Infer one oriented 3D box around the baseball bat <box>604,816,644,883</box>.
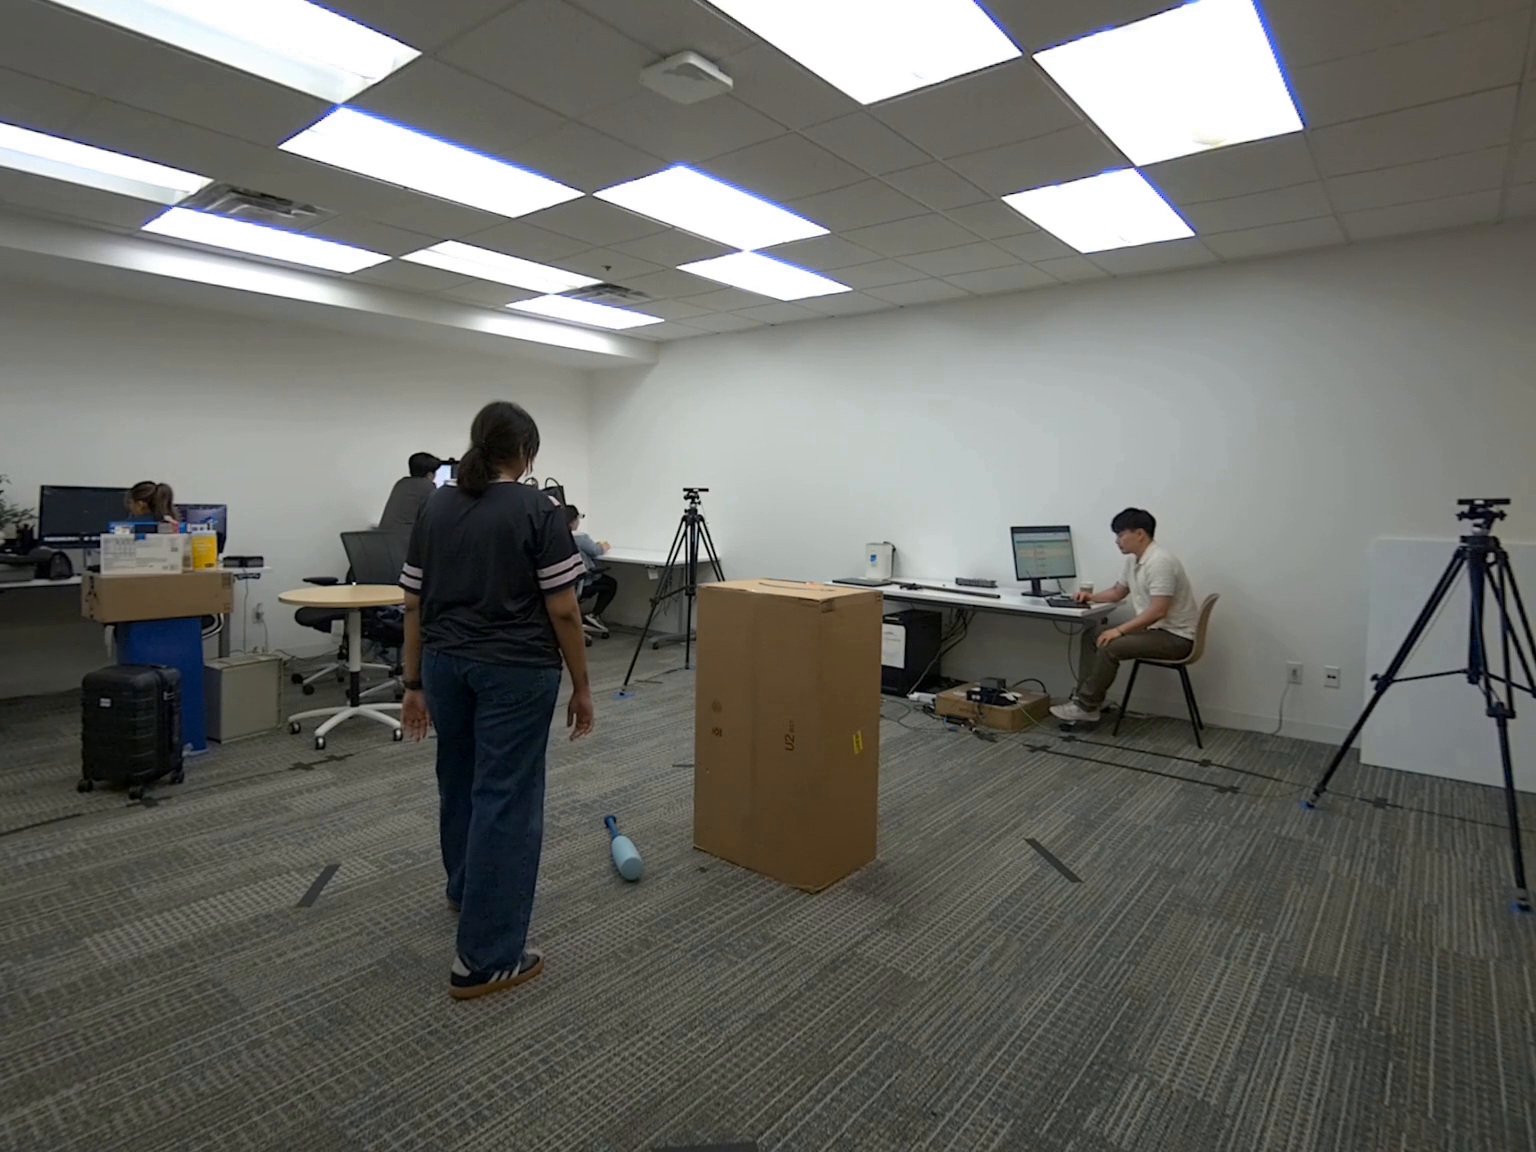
[{"bbox_3d":[-0.572,1.016,3.241,0.087,0.089,0.553,0,2,-18],"label":"baseball bat"}]
